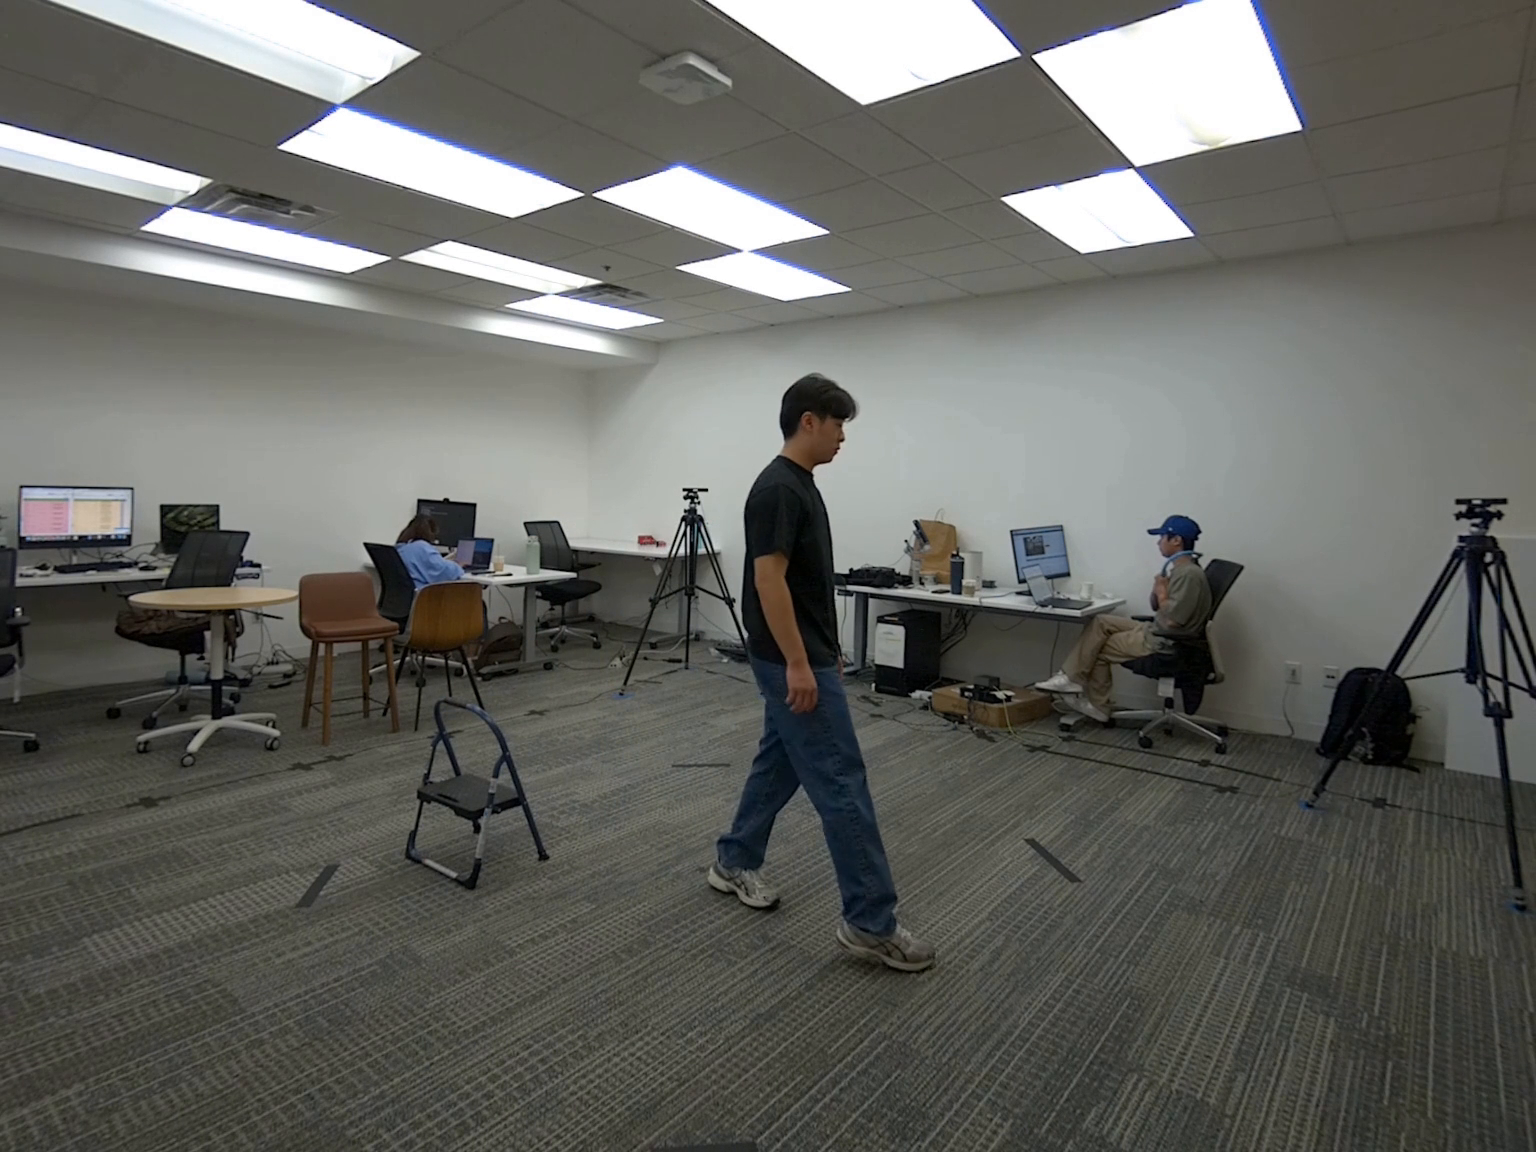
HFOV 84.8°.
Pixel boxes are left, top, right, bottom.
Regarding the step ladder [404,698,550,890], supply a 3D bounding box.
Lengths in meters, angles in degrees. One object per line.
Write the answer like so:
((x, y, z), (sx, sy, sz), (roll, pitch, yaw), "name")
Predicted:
((-1.093, 0.747, 3.156), (0.444, 0.604, 0.339), (3, 4, 36), "step ladder")
